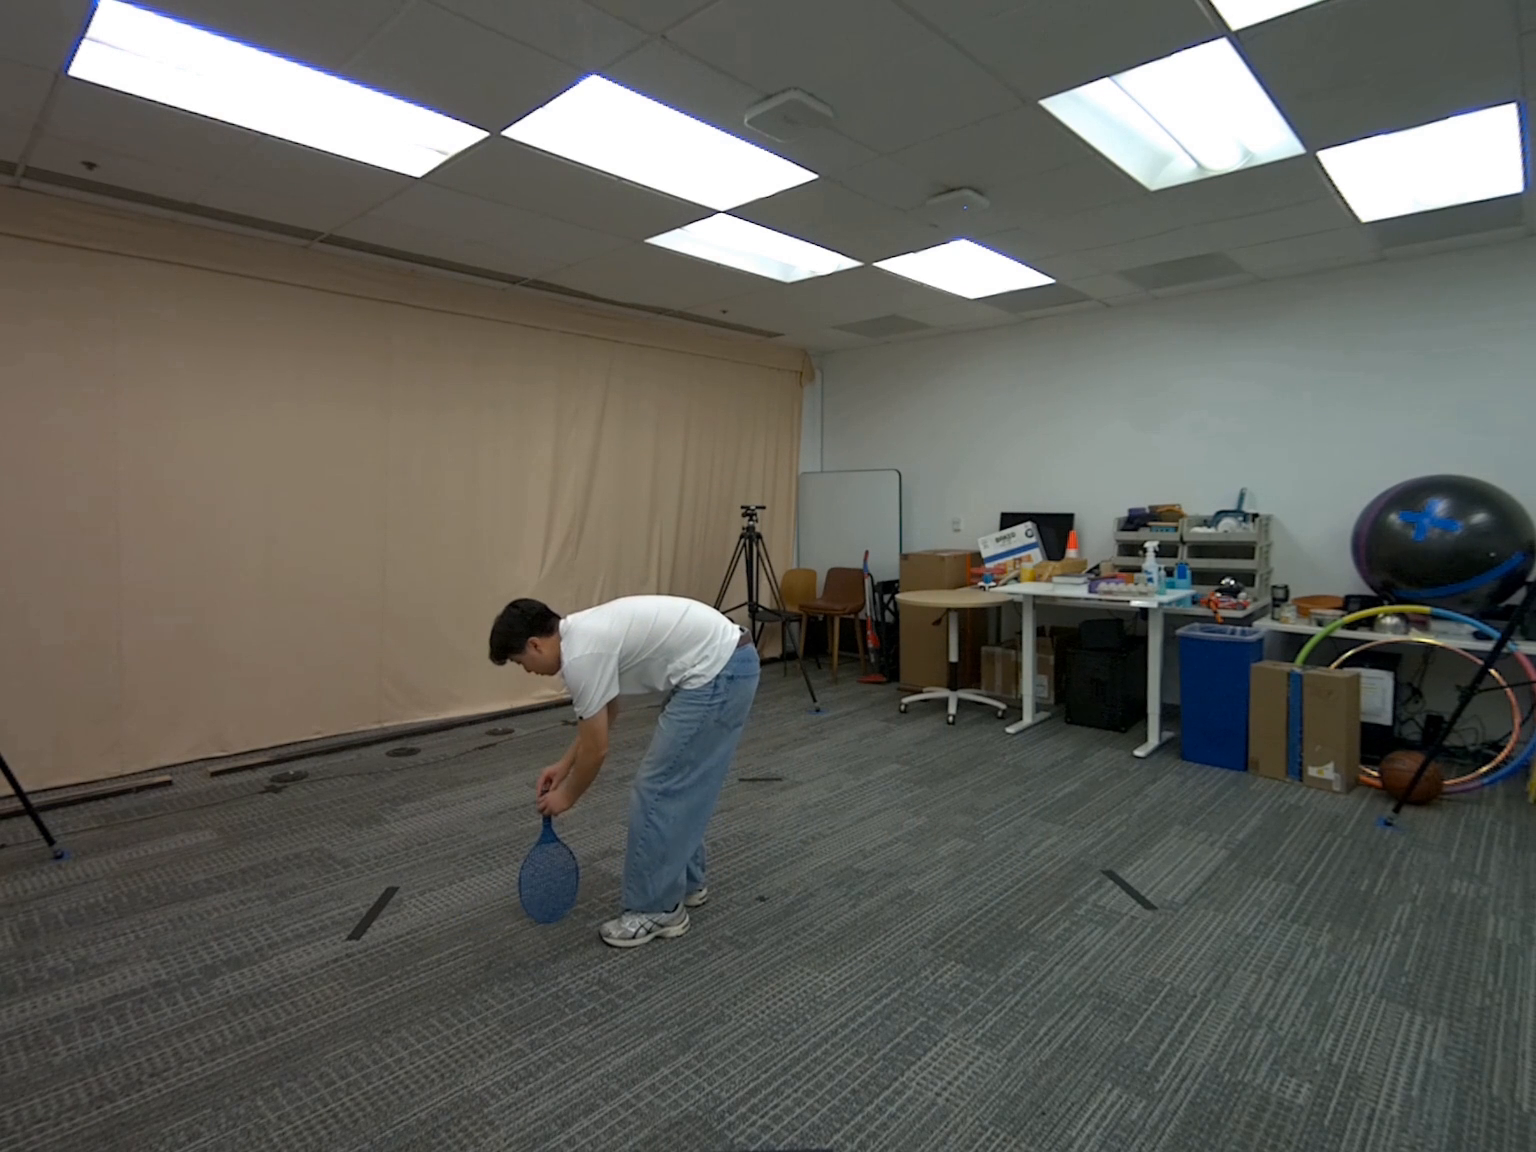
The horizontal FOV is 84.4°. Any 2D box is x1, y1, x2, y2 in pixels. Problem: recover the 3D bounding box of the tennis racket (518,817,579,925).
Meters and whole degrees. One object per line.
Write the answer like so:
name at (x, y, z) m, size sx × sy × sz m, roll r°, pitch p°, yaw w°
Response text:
tennis racket at (-0.754, 0.958, 2.854) m, size 0.208 × 0.436 × 0.032 m, roll 2°, pitch -12°, yaw -31°
